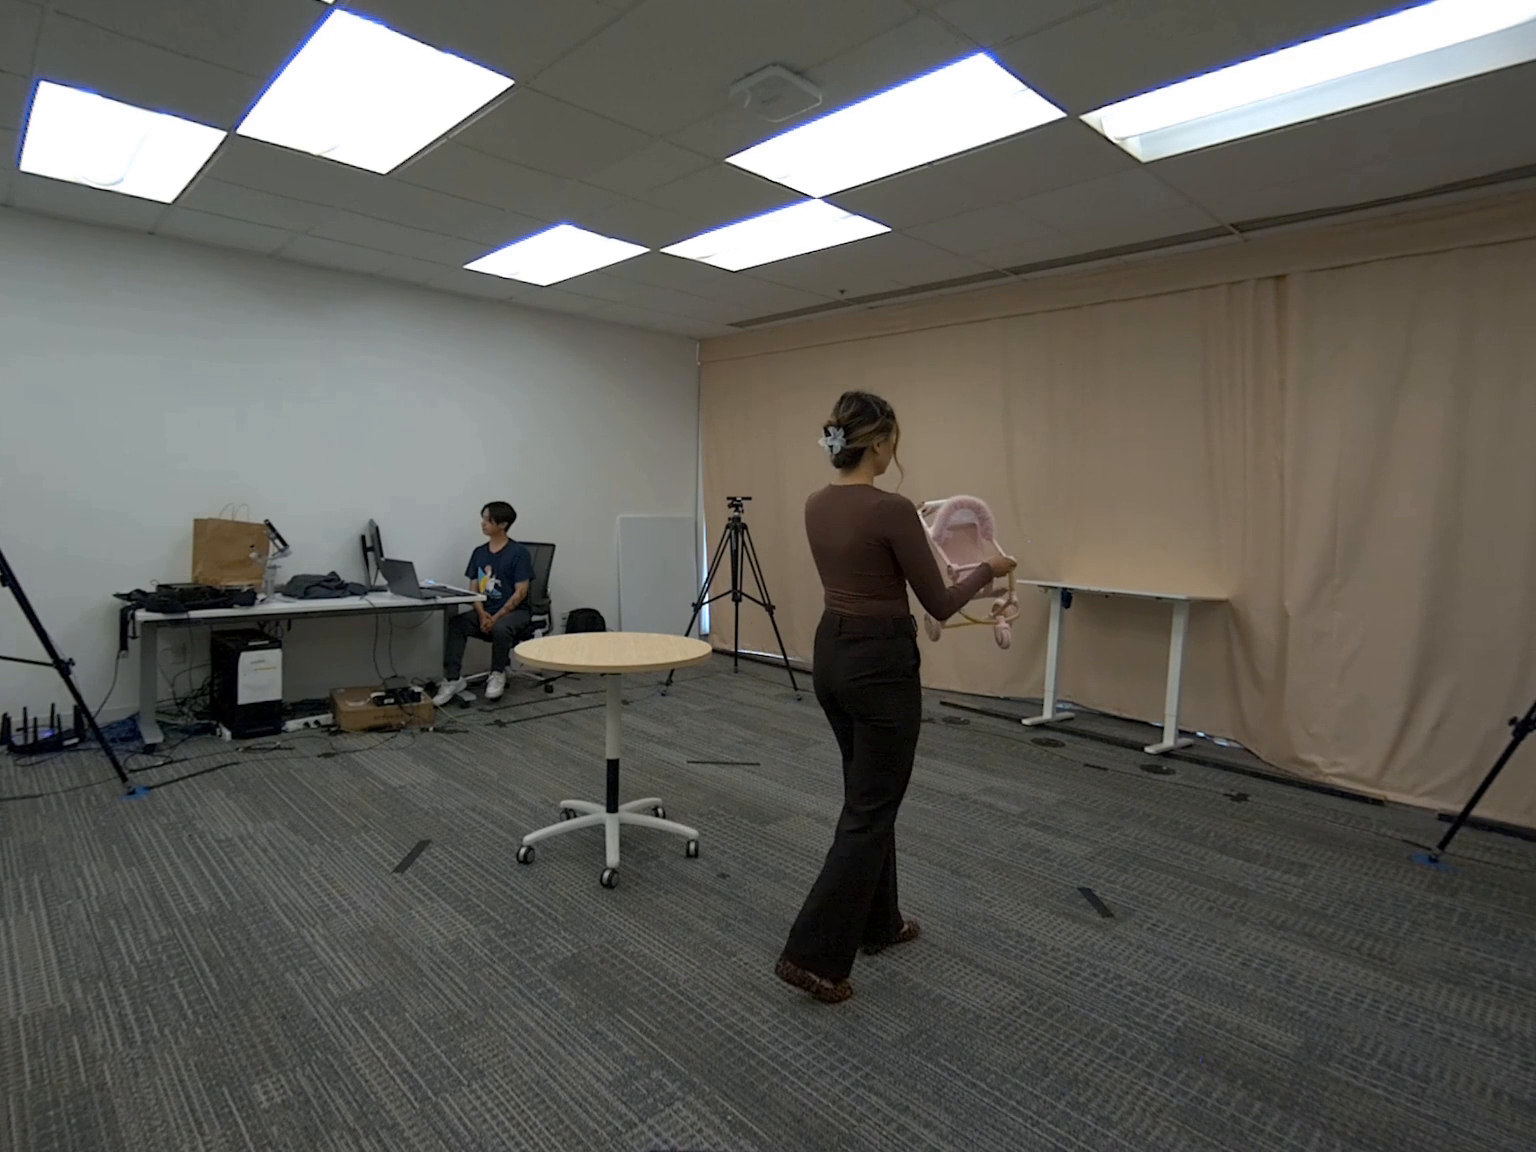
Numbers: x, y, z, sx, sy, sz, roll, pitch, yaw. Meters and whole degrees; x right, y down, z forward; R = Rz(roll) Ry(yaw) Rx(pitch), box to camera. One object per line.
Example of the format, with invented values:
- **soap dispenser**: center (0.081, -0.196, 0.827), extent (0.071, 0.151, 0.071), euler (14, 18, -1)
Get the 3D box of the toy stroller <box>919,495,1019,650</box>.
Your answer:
- **toy stroller**: center (0.649, -0.018, 2.715), extent (0.280, 0.540, 0.340), euler (-8, -10, -6)
